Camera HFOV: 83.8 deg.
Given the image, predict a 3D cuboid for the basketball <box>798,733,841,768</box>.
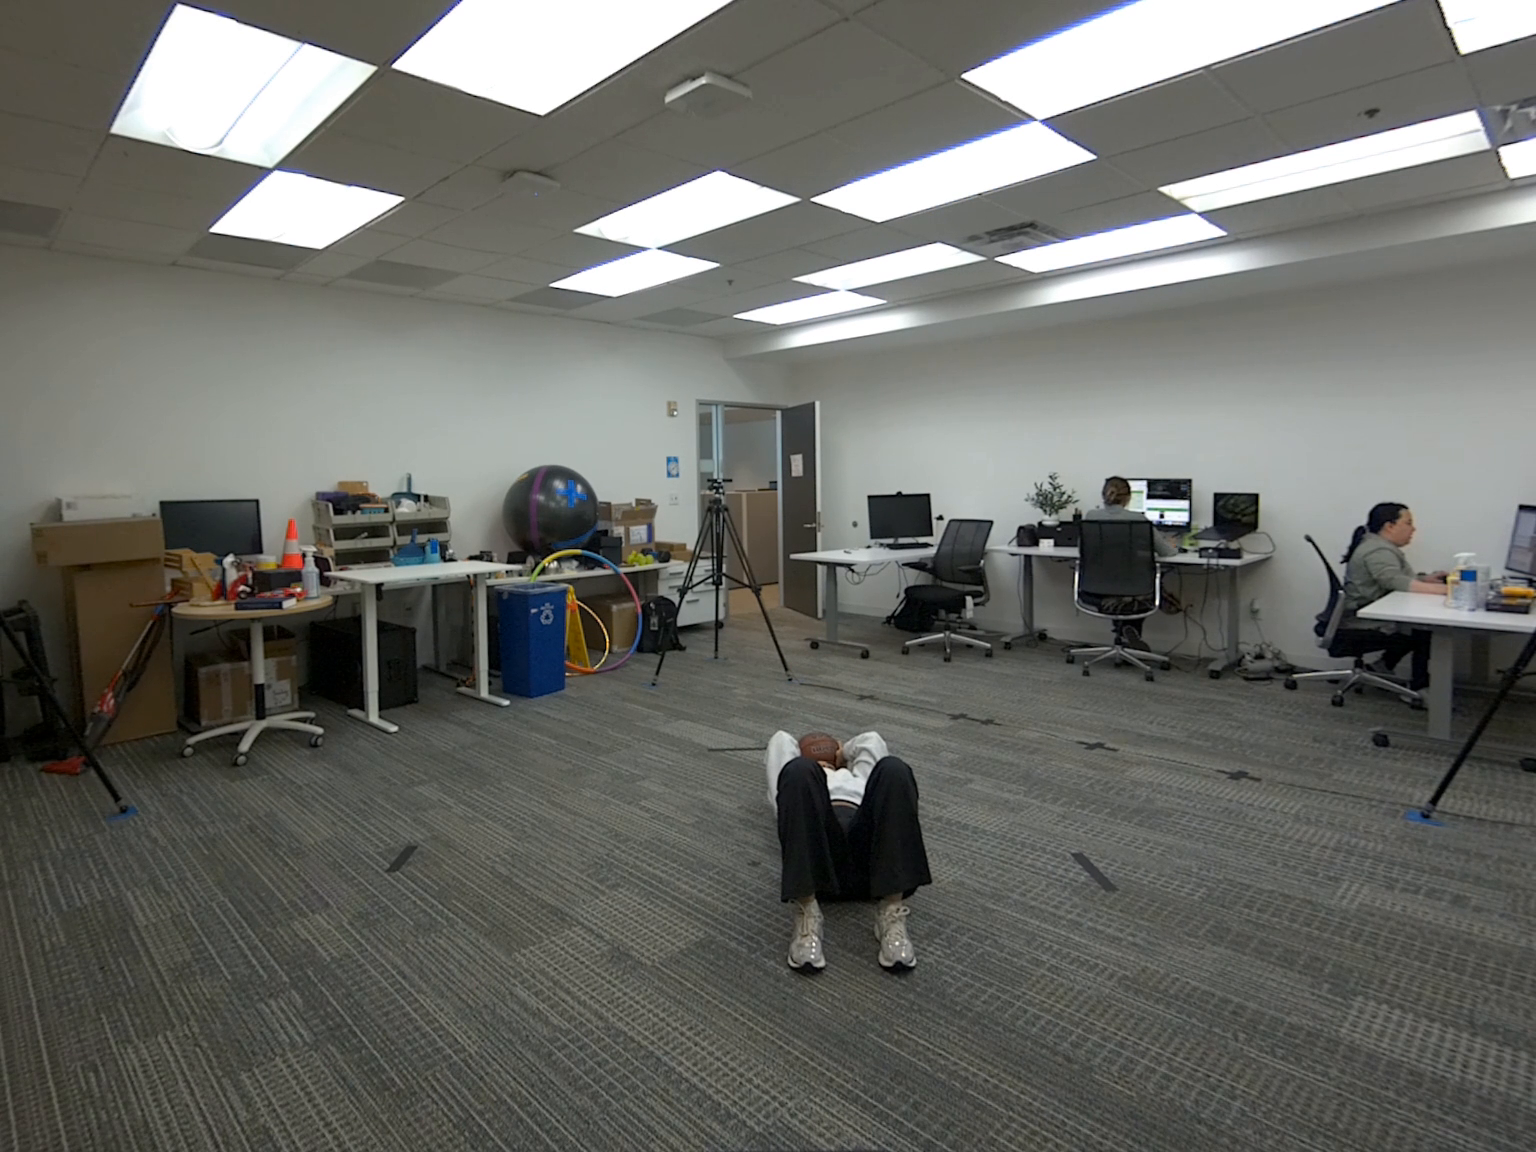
[{"bbox_3d":[0.232,0.829,3.884,0.236,0.235,0.237,-1,5,-2],"label":"basketball"}]
